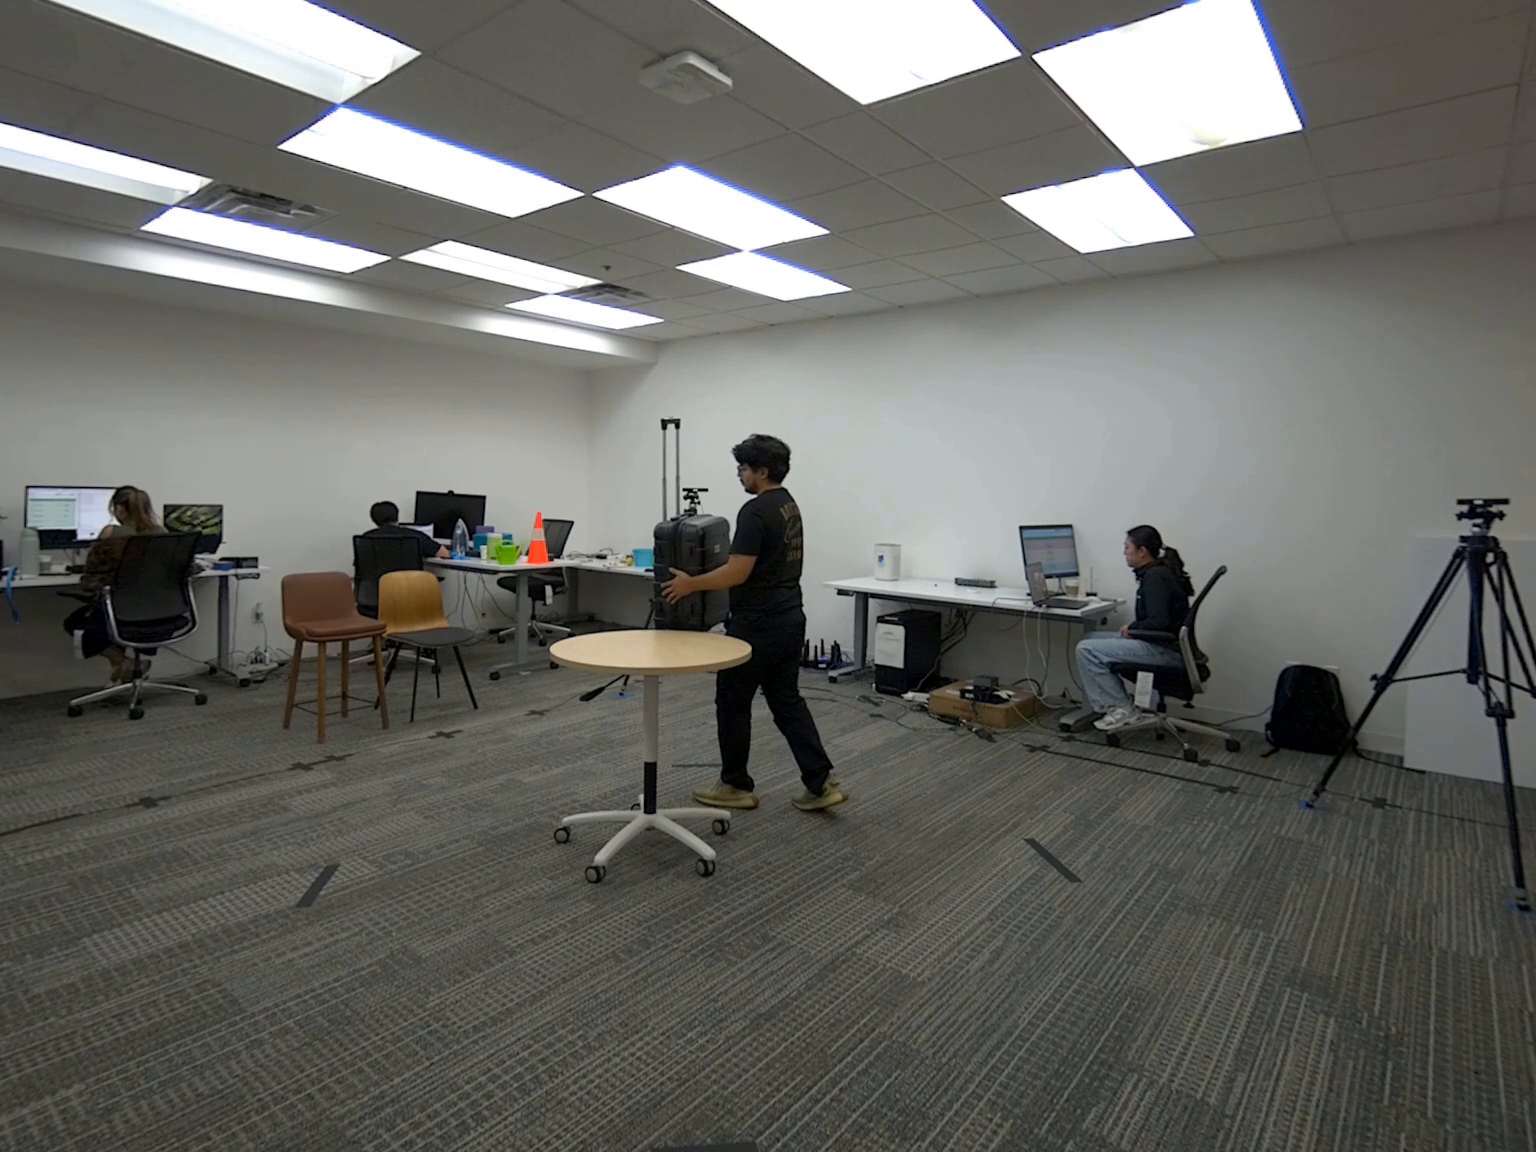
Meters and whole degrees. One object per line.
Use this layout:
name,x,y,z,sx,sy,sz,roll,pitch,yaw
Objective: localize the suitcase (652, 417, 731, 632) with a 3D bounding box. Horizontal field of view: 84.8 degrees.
suitcase,-0.344,-0.218,3.824,0.263,0.970,0.378,4,10,21
